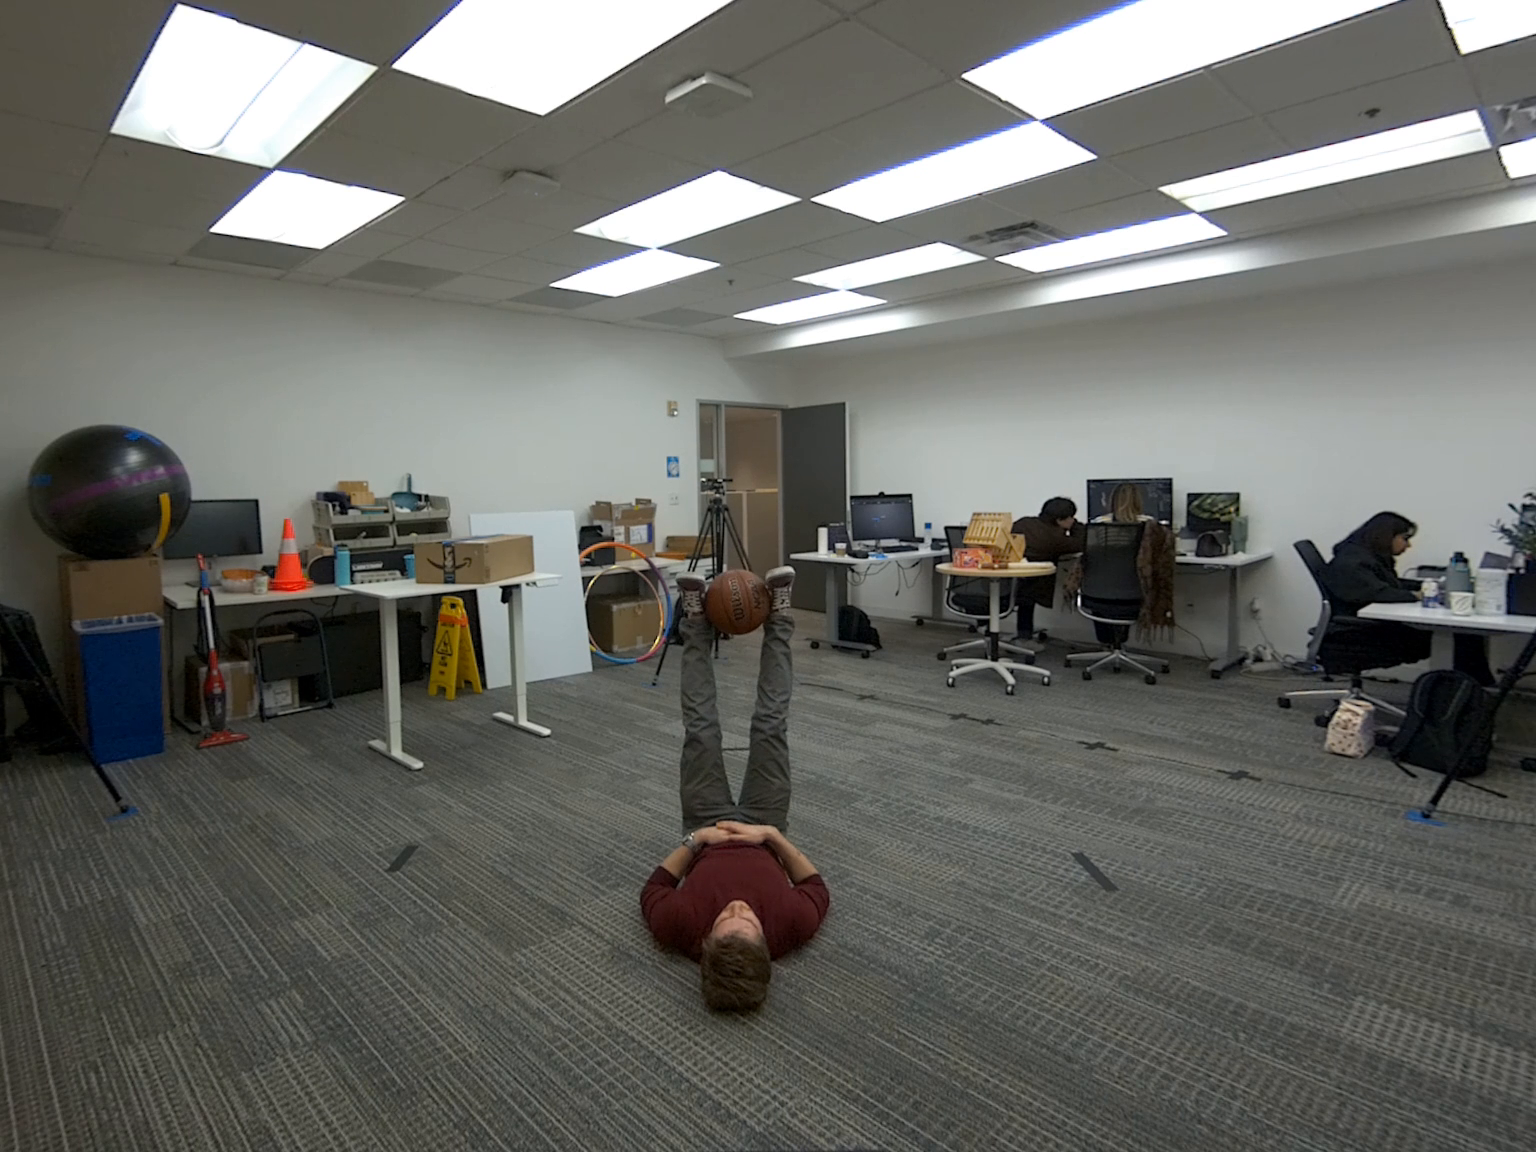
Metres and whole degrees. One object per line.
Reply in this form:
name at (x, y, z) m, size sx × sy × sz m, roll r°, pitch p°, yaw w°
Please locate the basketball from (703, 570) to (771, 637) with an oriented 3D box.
basketball at (-0.107, 0.097, 3.115) m, size 0.236 × 0.236 × 0.236 m, roll 0°, pitch 1°, yaw -2°
